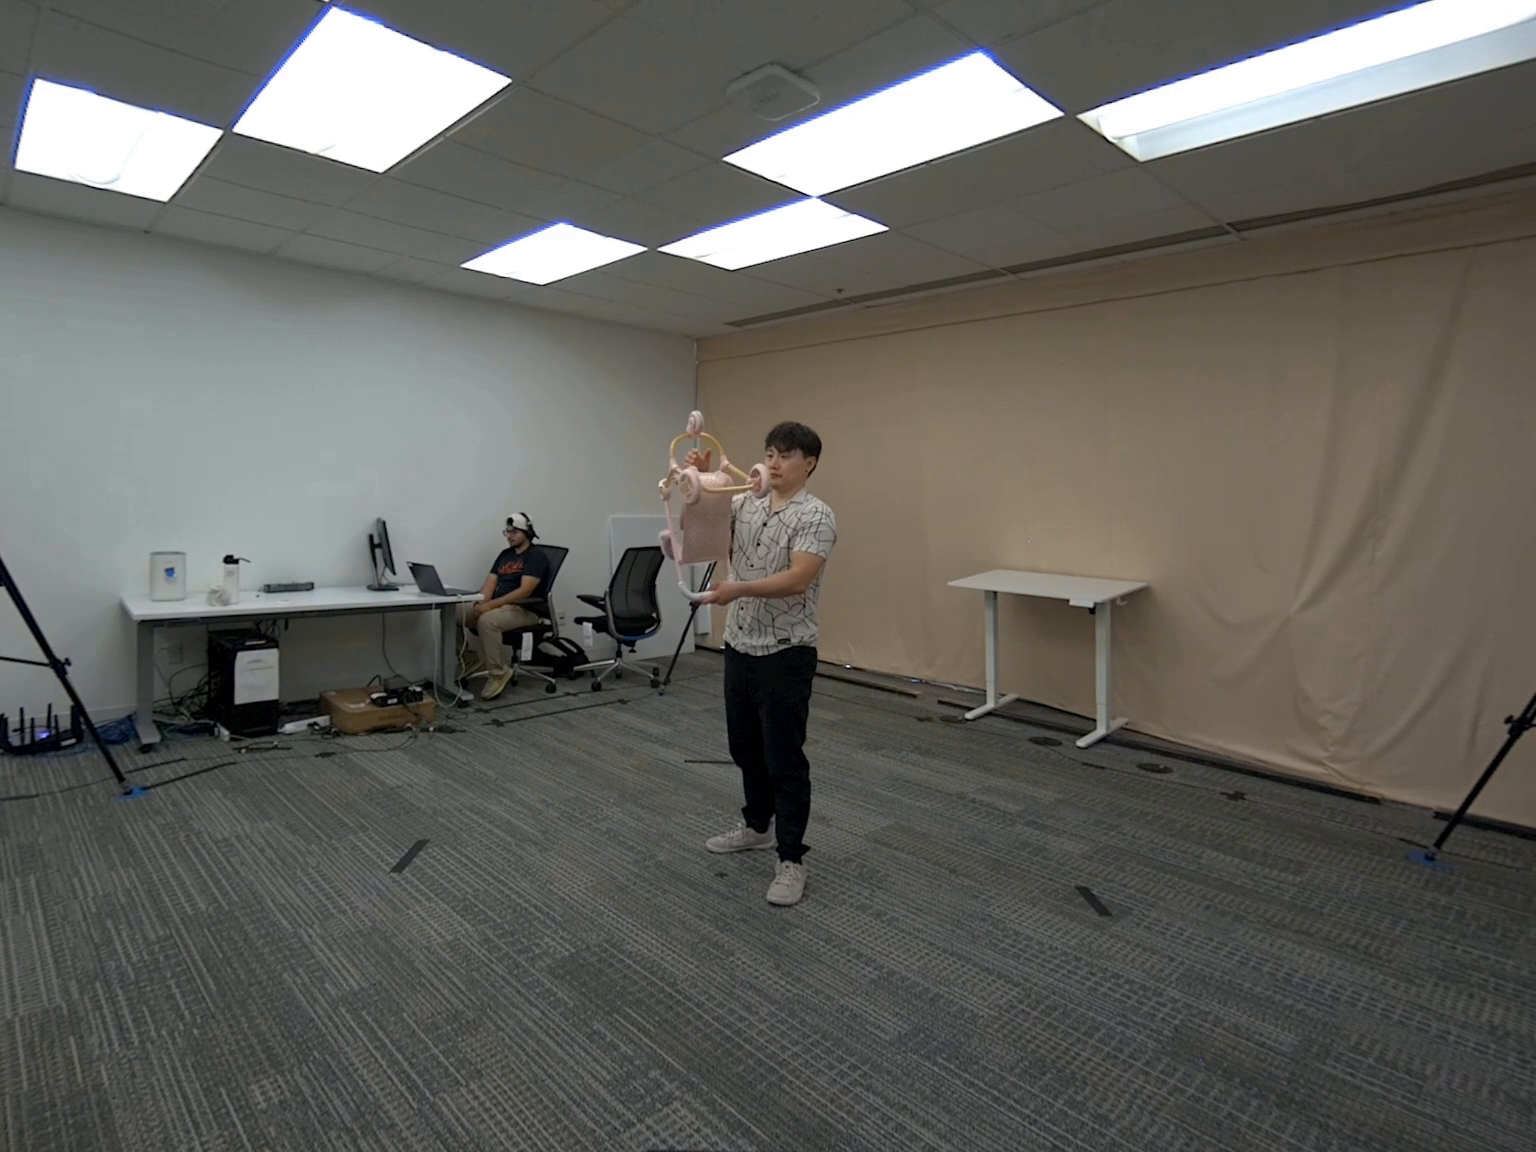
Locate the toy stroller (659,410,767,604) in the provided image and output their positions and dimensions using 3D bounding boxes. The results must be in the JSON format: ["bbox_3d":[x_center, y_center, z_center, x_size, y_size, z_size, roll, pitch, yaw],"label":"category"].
[{"bbox_3d":[-0.220,-0.224,2.720,0.276,0.527,0.352,-12,43,-35],"label":"toy stroller"}]
